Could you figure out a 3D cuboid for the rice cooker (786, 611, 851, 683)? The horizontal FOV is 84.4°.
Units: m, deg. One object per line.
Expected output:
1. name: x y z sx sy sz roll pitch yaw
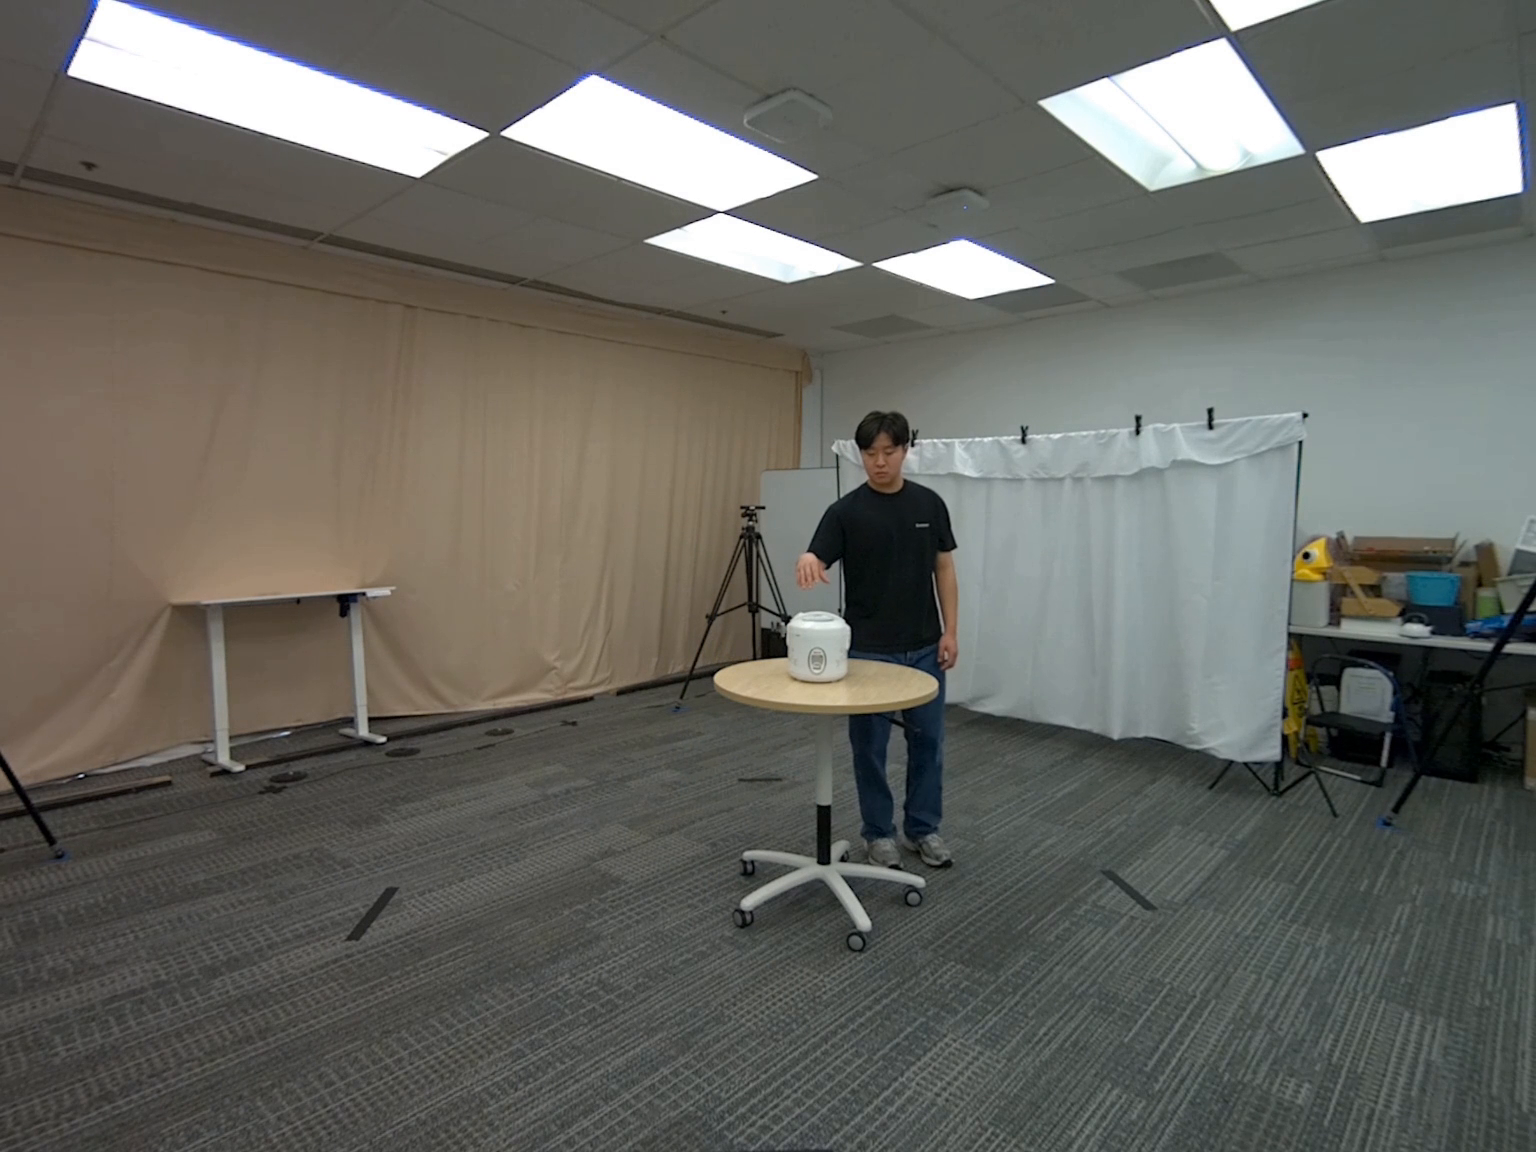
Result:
1. rice cooker: 0.178 0.236 2.909 0.222 0.232 0.216 1 3 6
